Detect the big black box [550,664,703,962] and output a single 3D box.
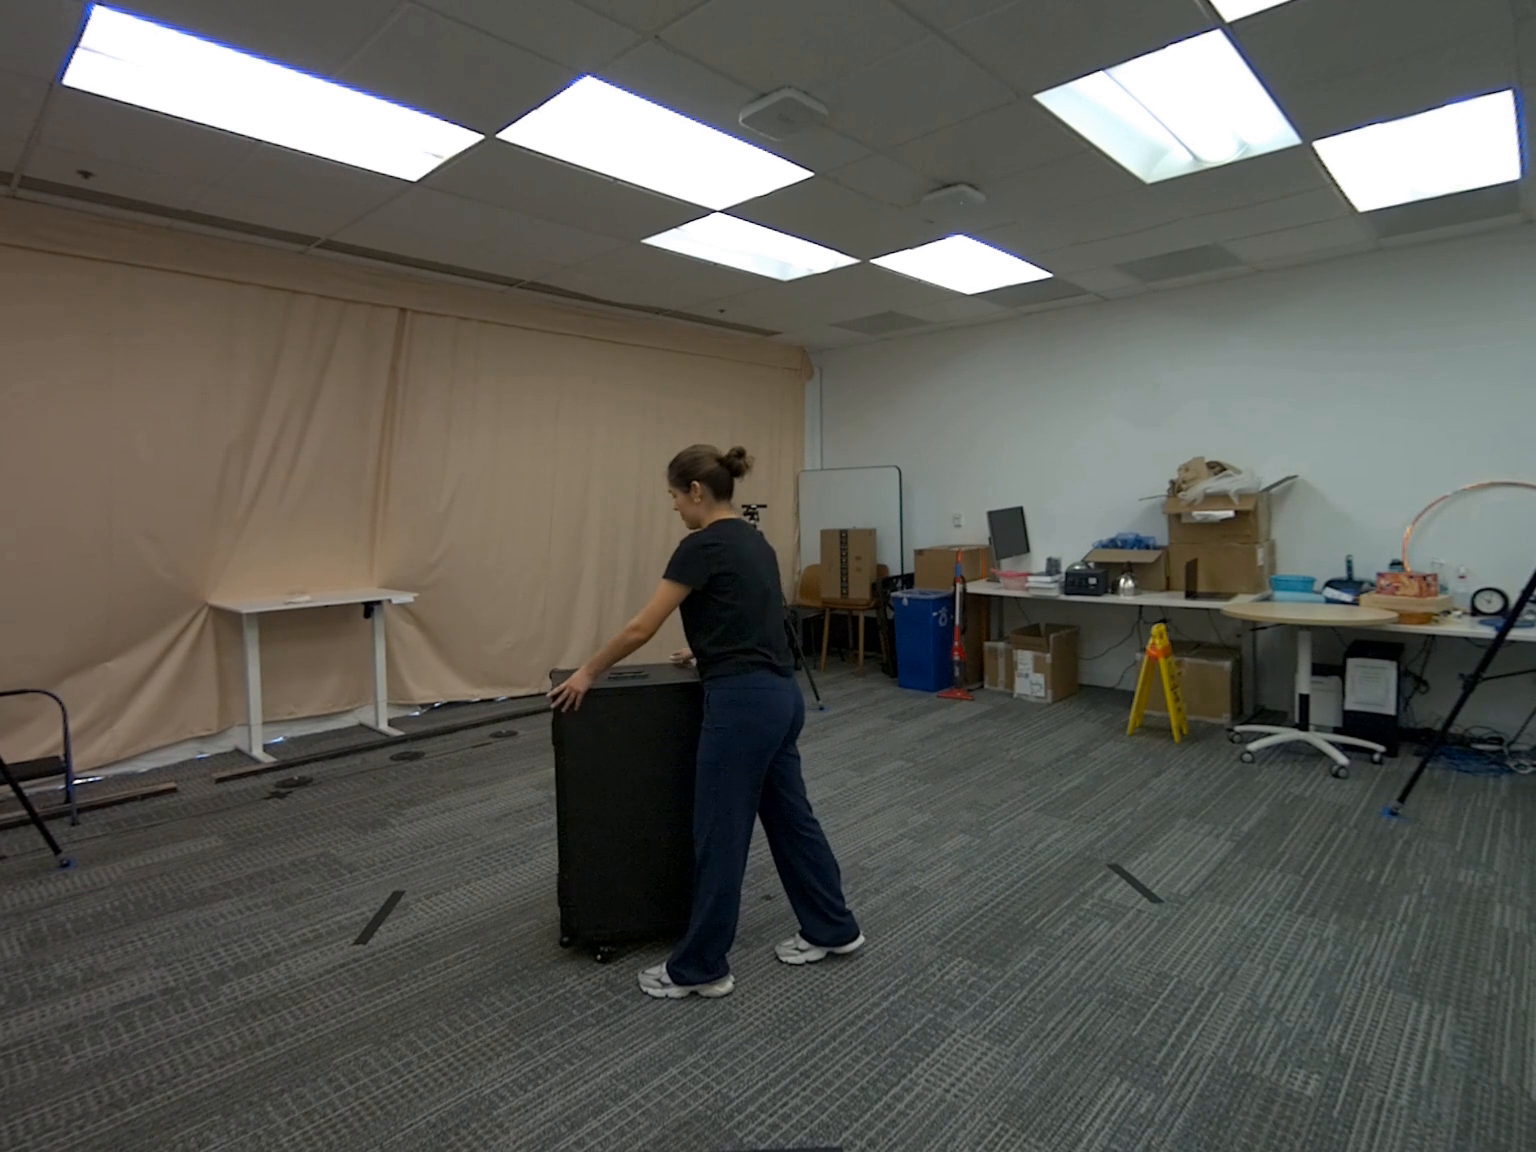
[{"bbox_3d":[-0.444,0.746,2.755,0.514,0.860,0.402,-2,2,-14],"label":"big black box"}]
